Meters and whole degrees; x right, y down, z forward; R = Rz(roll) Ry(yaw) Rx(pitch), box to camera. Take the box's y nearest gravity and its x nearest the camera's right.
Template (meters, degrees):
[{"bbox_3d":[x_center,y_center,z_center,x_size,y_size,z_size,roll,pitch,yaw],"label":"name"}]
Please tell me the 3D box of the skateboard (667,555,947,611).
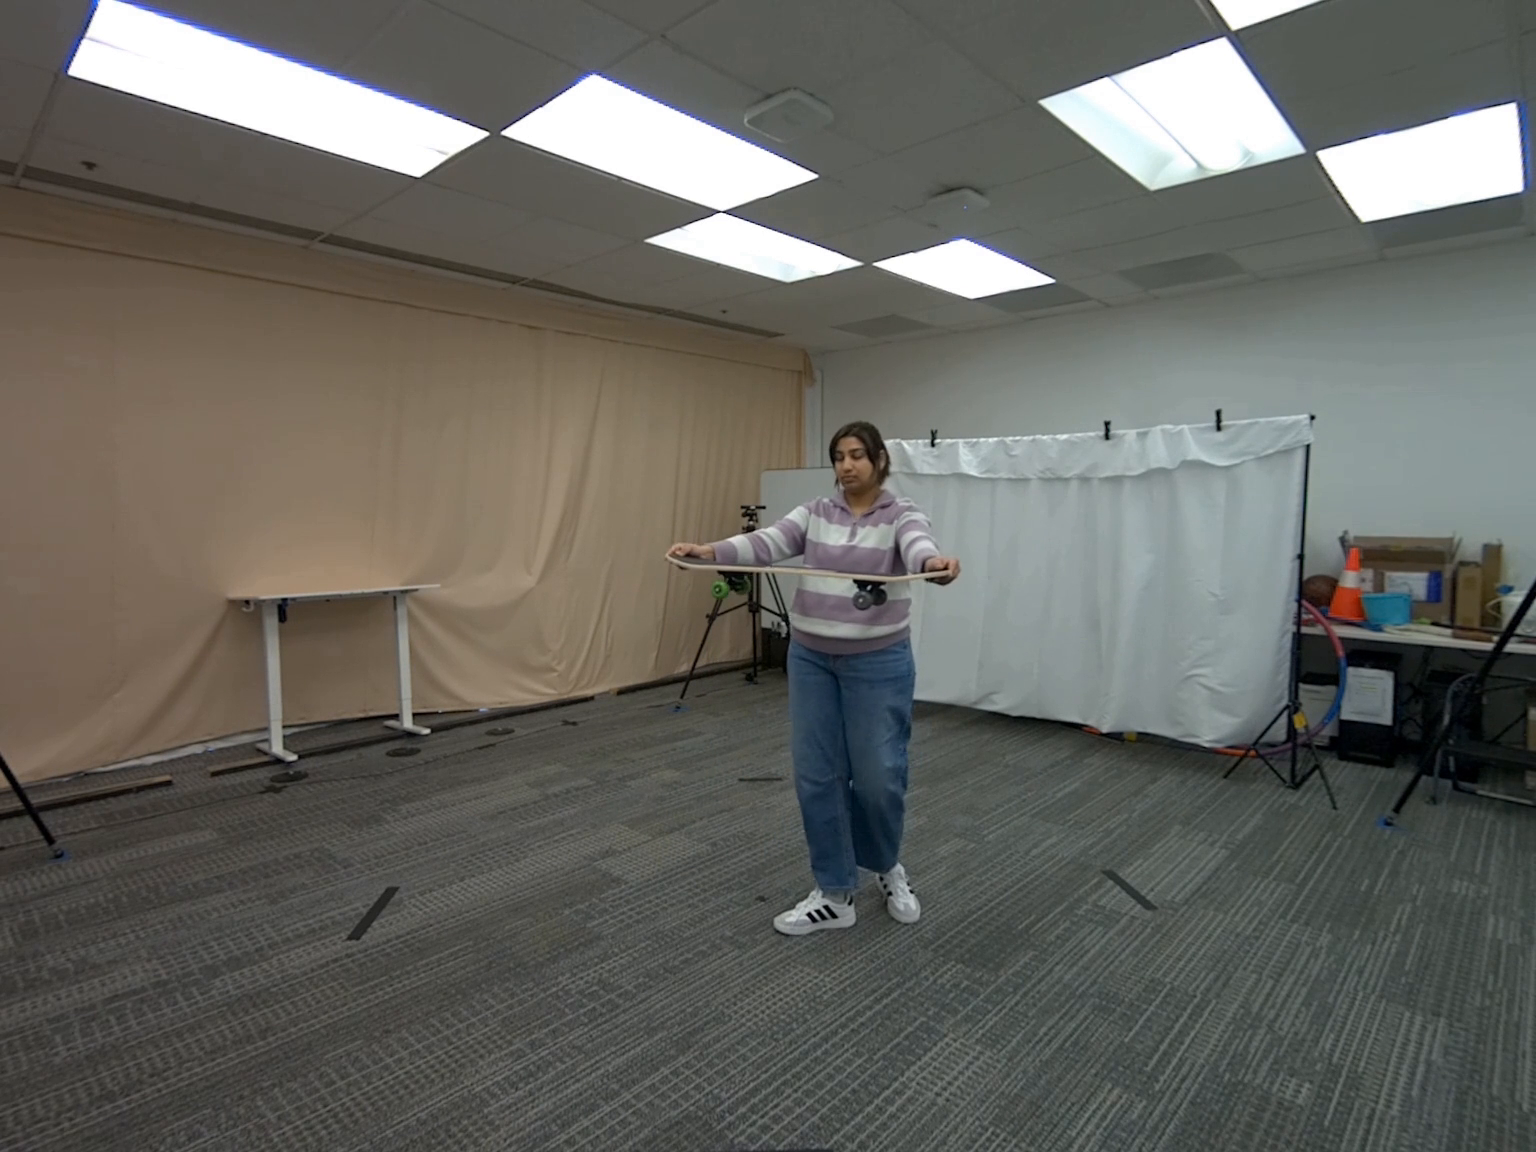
[{"bbox_3d":[0.121,0.022,2.272,0.805,0.110,0.189,3,3,24],"label":"skateboard"}]
